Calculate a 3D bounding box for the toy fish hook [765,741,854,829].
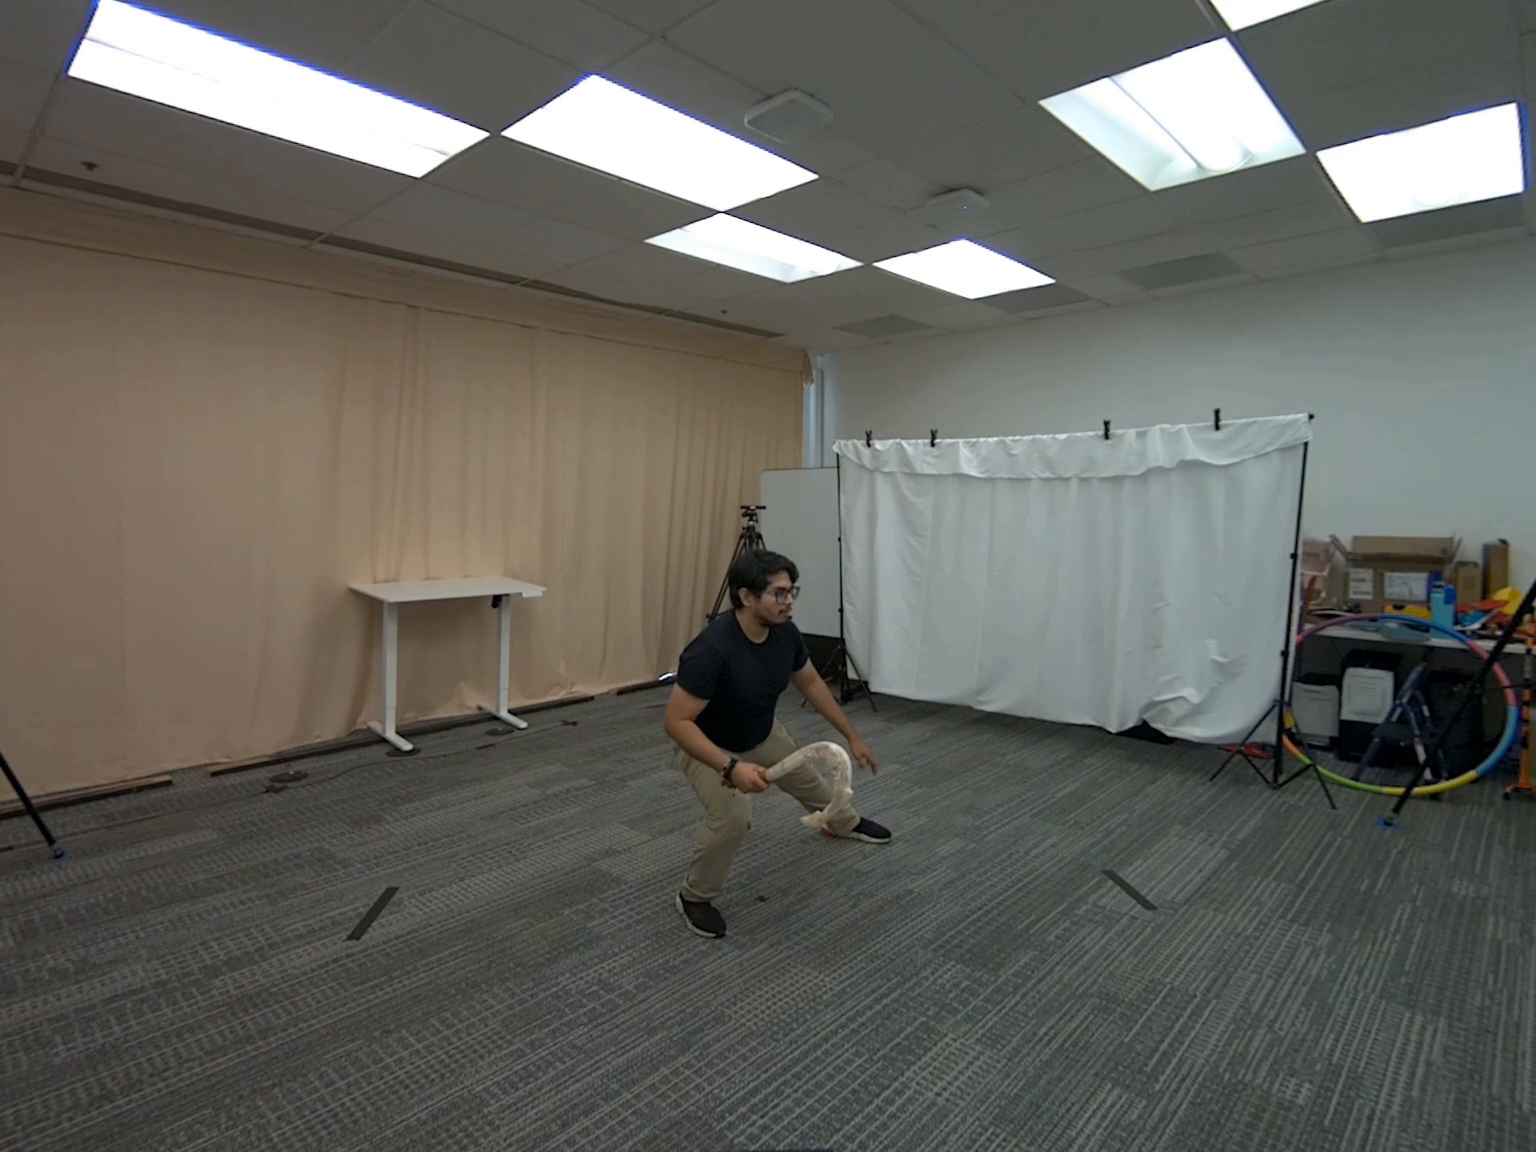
[{"bbox_3d":[0.047,0.623,2.475,0.046,0.228,0.517,23,-33,-38],"label":"toy fish hook"}]
